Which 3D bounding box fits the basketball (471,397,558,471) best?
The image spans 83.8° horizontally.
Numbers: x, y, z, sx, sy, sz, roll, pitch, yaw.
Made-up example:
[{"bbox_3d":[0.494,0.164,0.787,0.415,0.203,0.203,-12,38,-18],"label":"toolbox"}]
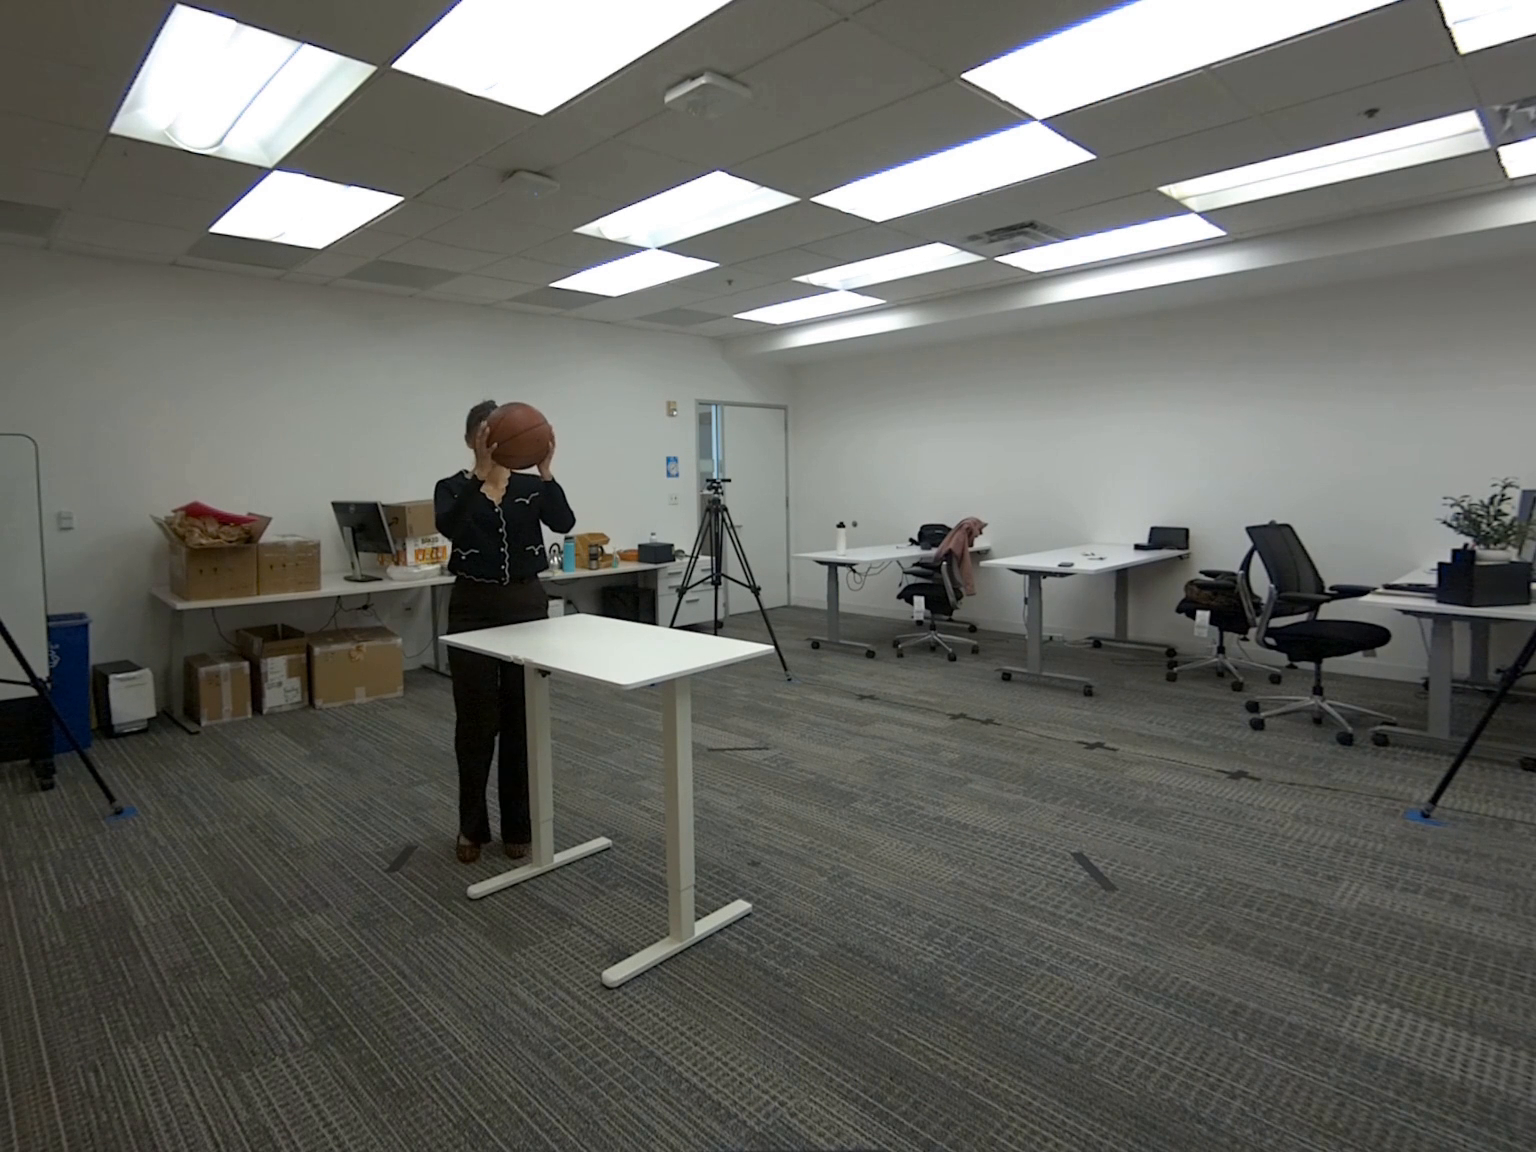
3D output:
[{"bbox_3d":[-0.879,-0.490,2.982,0.236,0.235,0.237,-1,5,-2],"label":"basketball"}]
